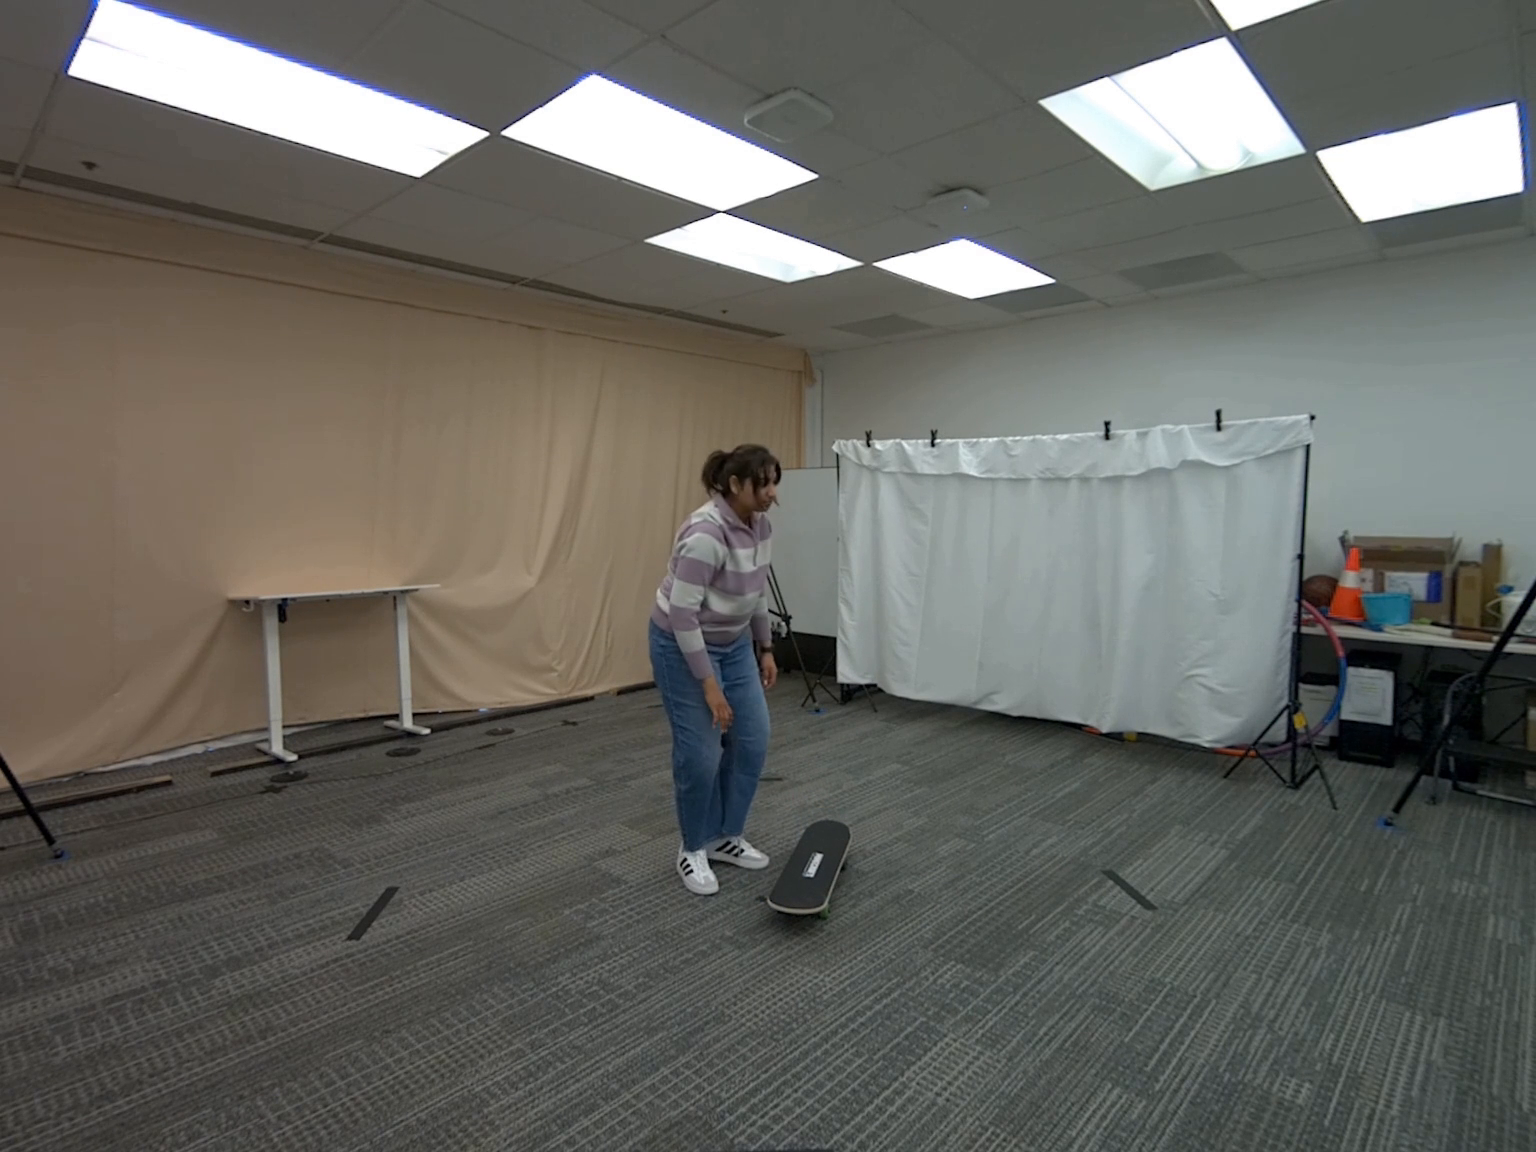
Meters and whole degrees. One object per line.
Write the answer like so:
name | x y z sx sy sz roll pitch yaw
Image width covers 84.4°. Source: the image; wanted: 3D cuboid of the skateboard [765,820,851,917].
skateboard | 0.168 1.079 3.053 0.197 0.110 0.774 1 5 14
